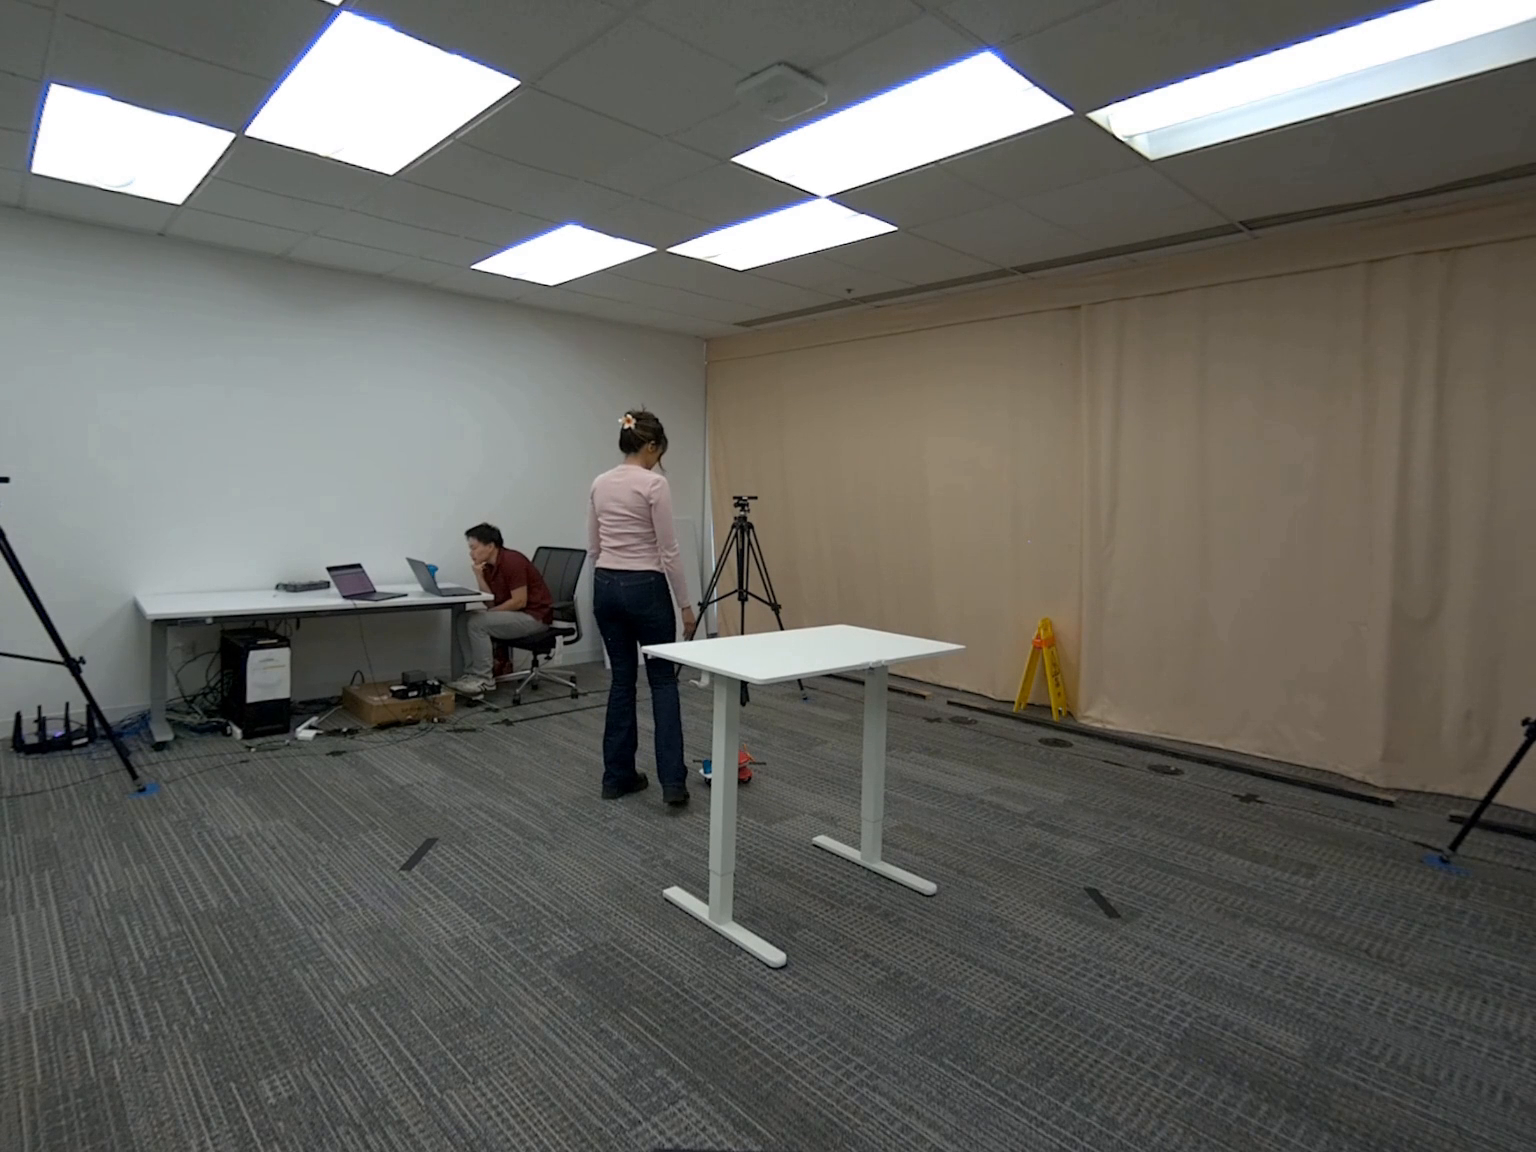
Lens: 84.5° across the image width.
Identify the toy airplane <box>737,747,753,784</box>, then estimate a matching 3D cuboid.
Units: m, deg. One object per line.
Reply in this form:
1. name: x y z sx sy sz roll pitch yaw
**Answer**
1. toy airplane: -0.197 0.943 4.126 0.257 0.156 0.254 5 4 31
